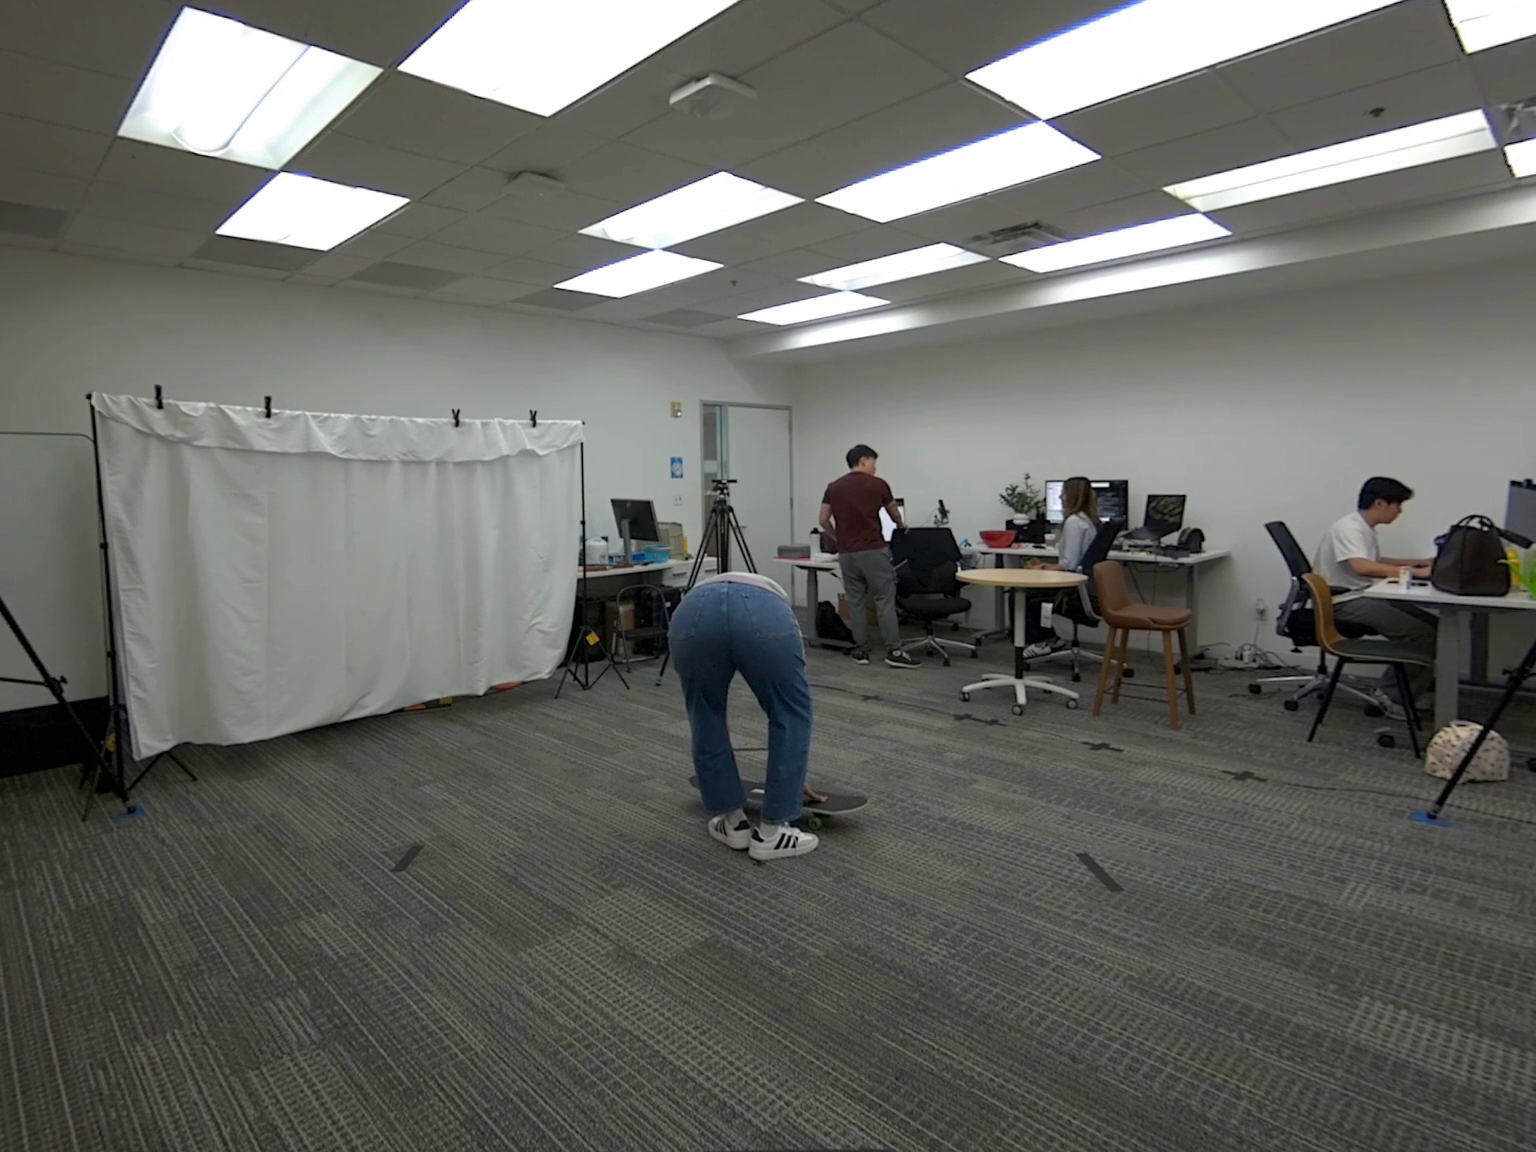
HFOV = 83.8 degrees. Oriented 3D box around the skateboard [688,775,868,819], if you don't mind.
[{"bbox_3d":[0.039,0.939,3.562,0.803,0.110,0.190,2,8,25],"label":"skateboard"}]
